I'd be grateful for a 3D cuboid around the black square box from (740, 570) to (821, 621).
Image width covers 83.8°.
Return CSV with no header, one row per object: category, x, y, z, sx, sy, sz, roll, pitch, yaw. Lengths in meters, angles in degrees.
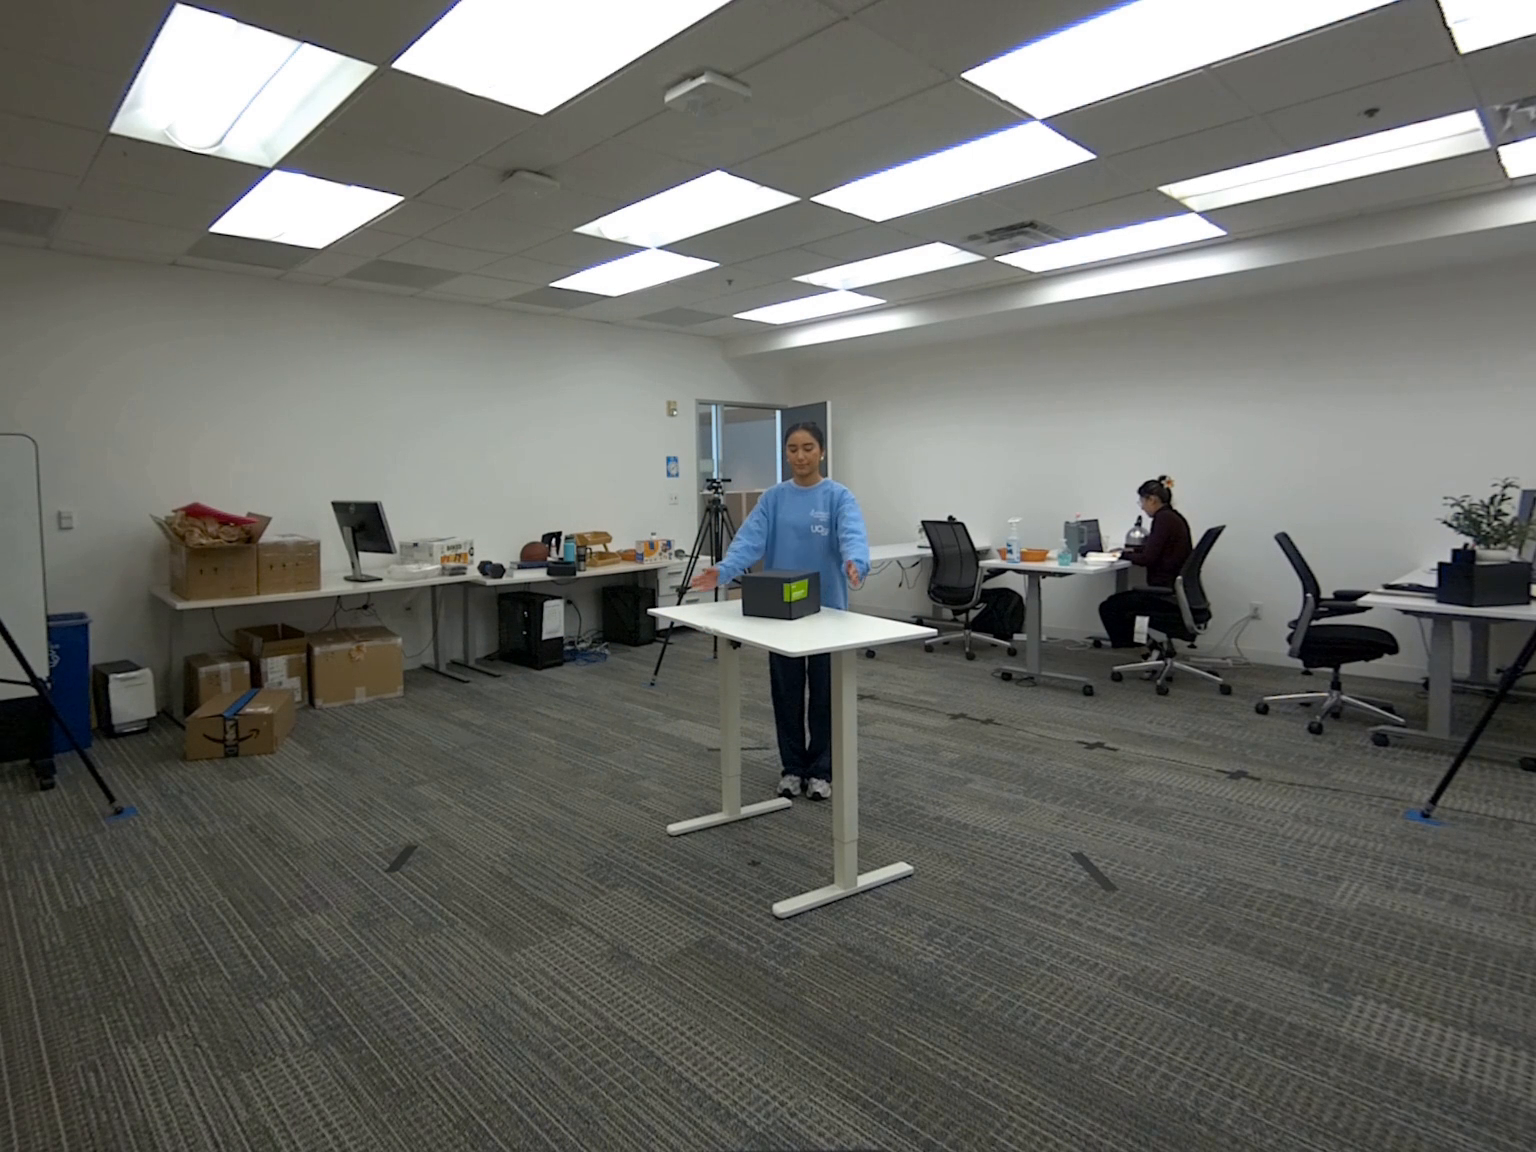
black square box,0.051,0.069,3.231,0.223,0.155,0.223,2,7,33
